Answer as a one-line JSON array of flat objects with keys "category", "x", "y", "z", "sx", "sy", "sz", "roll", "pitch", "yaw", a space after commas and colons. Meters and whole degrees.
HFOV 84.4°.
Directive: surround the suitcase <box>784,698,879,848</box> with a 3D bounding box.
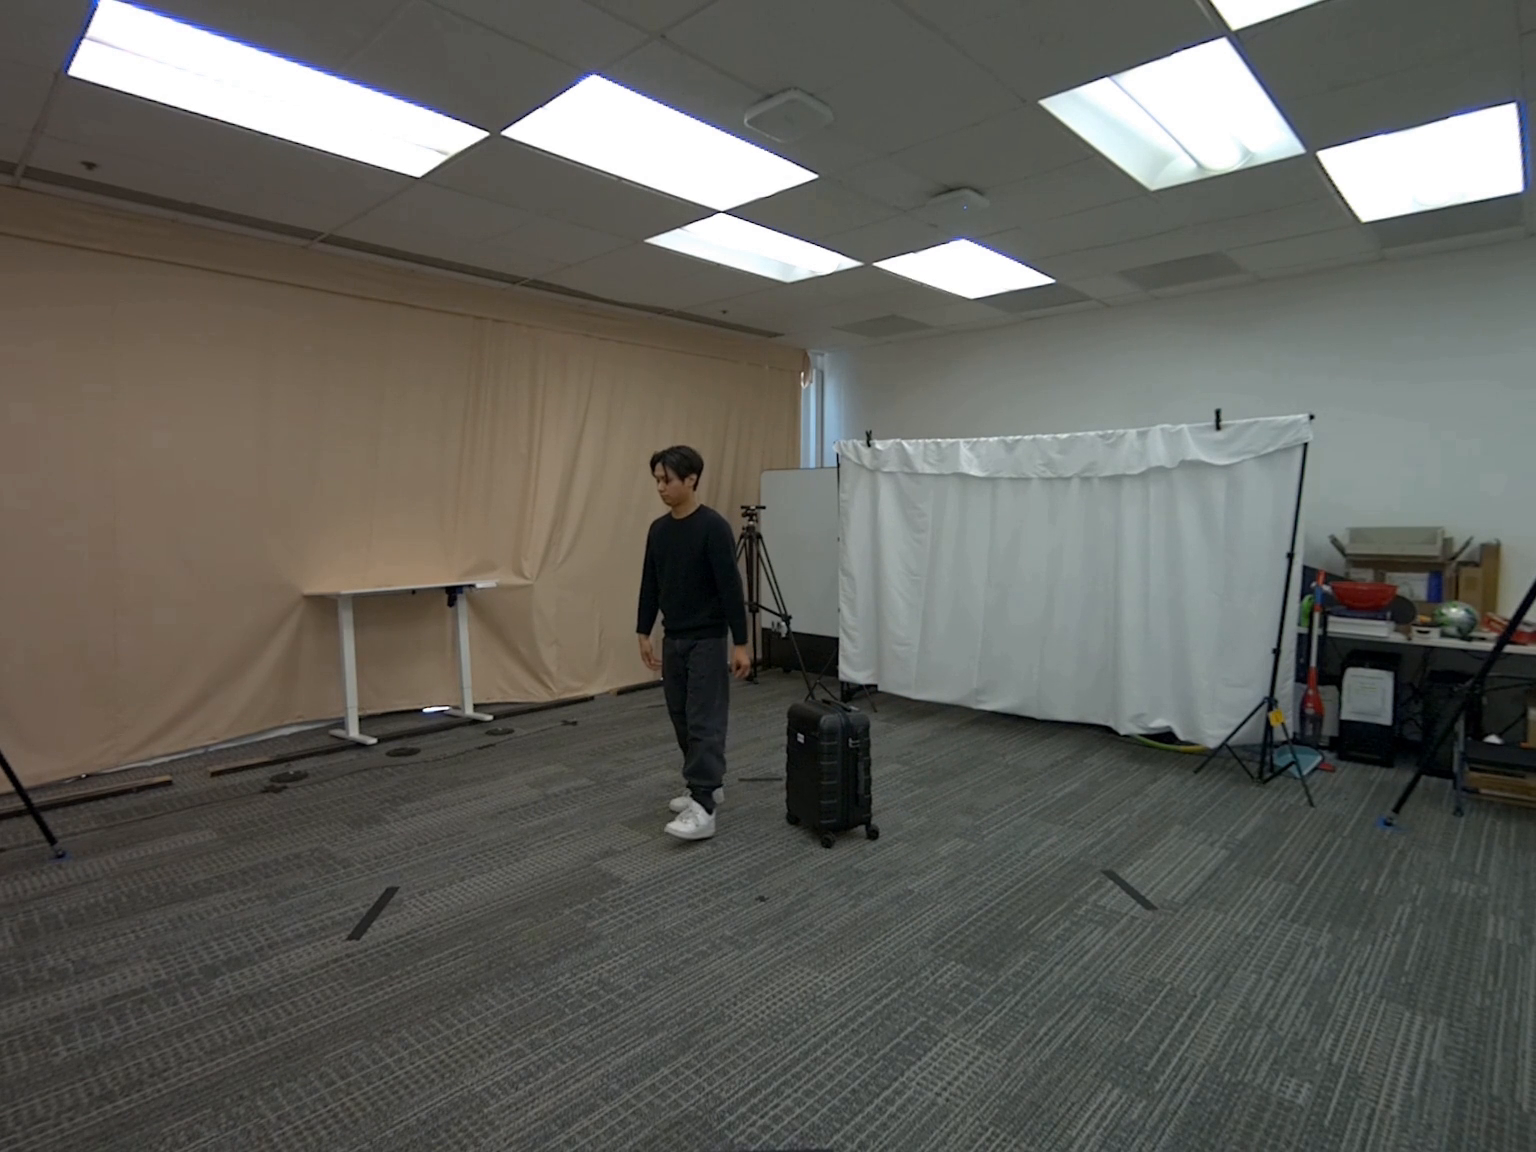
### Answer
[{"category": "suitcase", "x": 0.260, "y": 0.814, "z": 3.602, "sx": 0.242, "sy": 0.548, "sz": 0.385, "roll": -3, "pitch": 3, "yaw": -26}]
